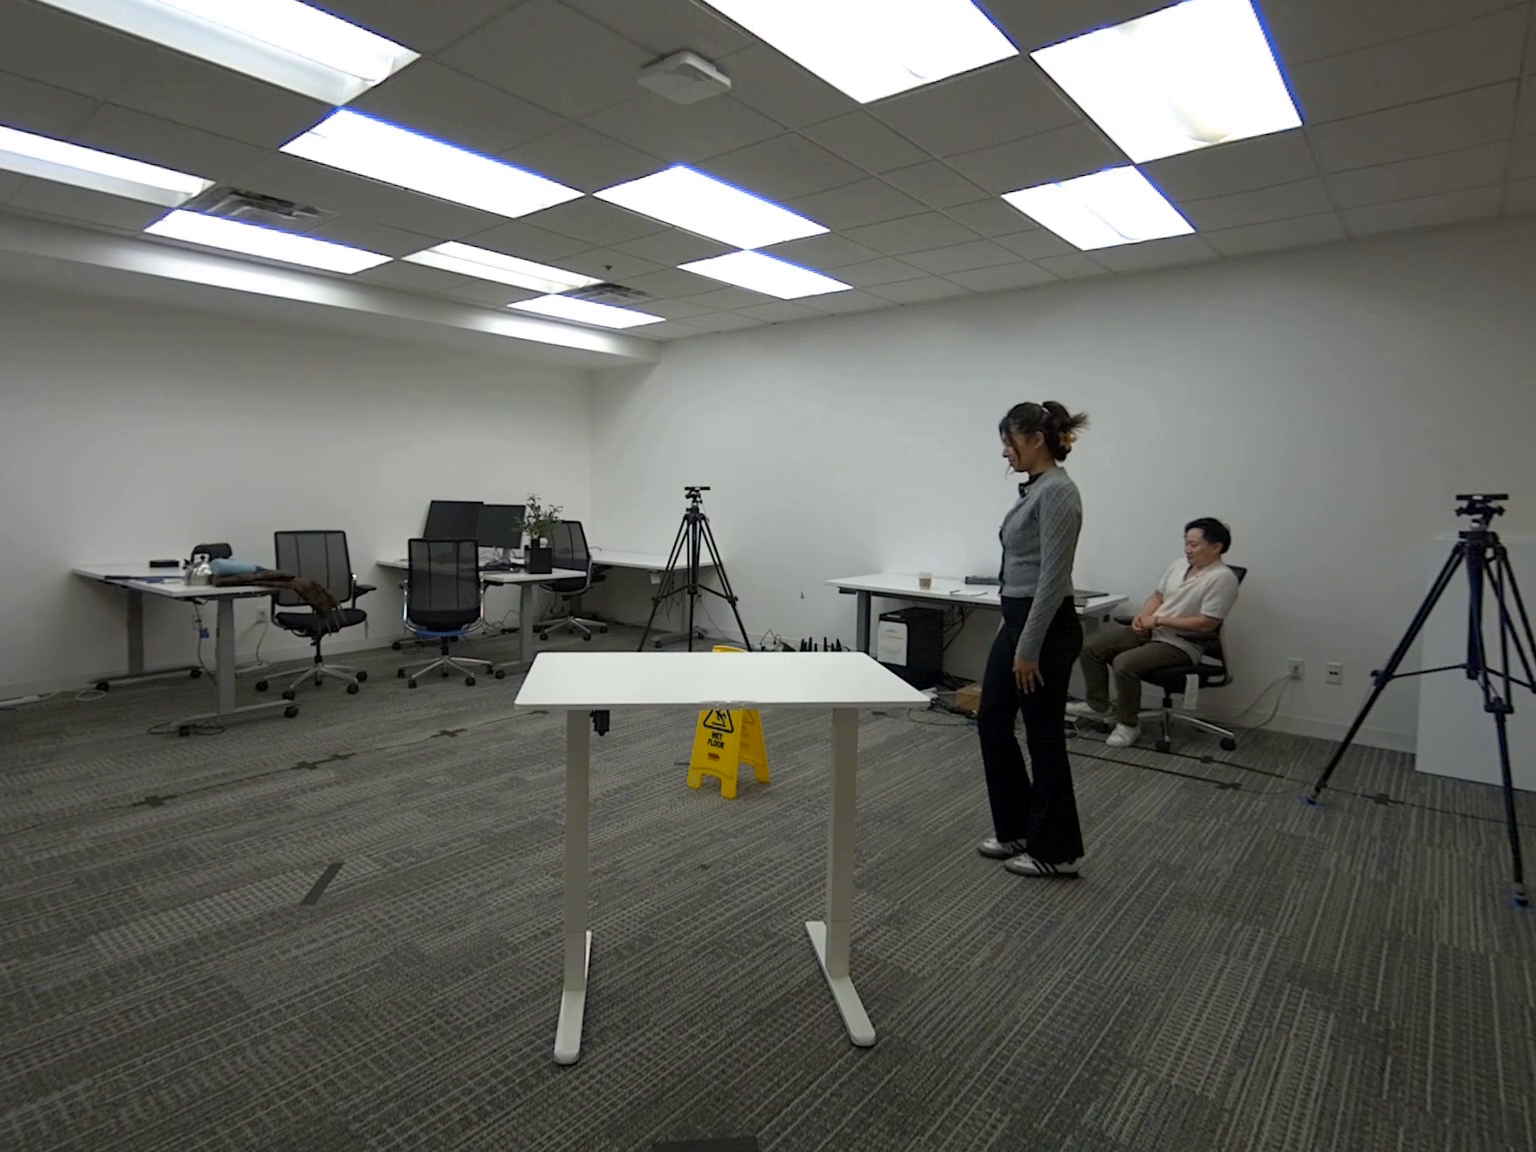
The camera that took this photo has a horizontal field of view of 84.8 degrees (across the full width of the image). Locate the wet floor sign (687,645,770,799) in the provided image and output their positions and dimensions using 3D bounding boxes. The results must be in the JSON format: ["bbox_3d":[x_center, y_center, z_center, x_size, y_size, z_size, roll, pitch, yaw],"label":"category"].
[{"bbox_3d":[-0.190,0.657,3.995,0.291,0.644,0.281,4,4,36],"label":"wet floor sign"}]
